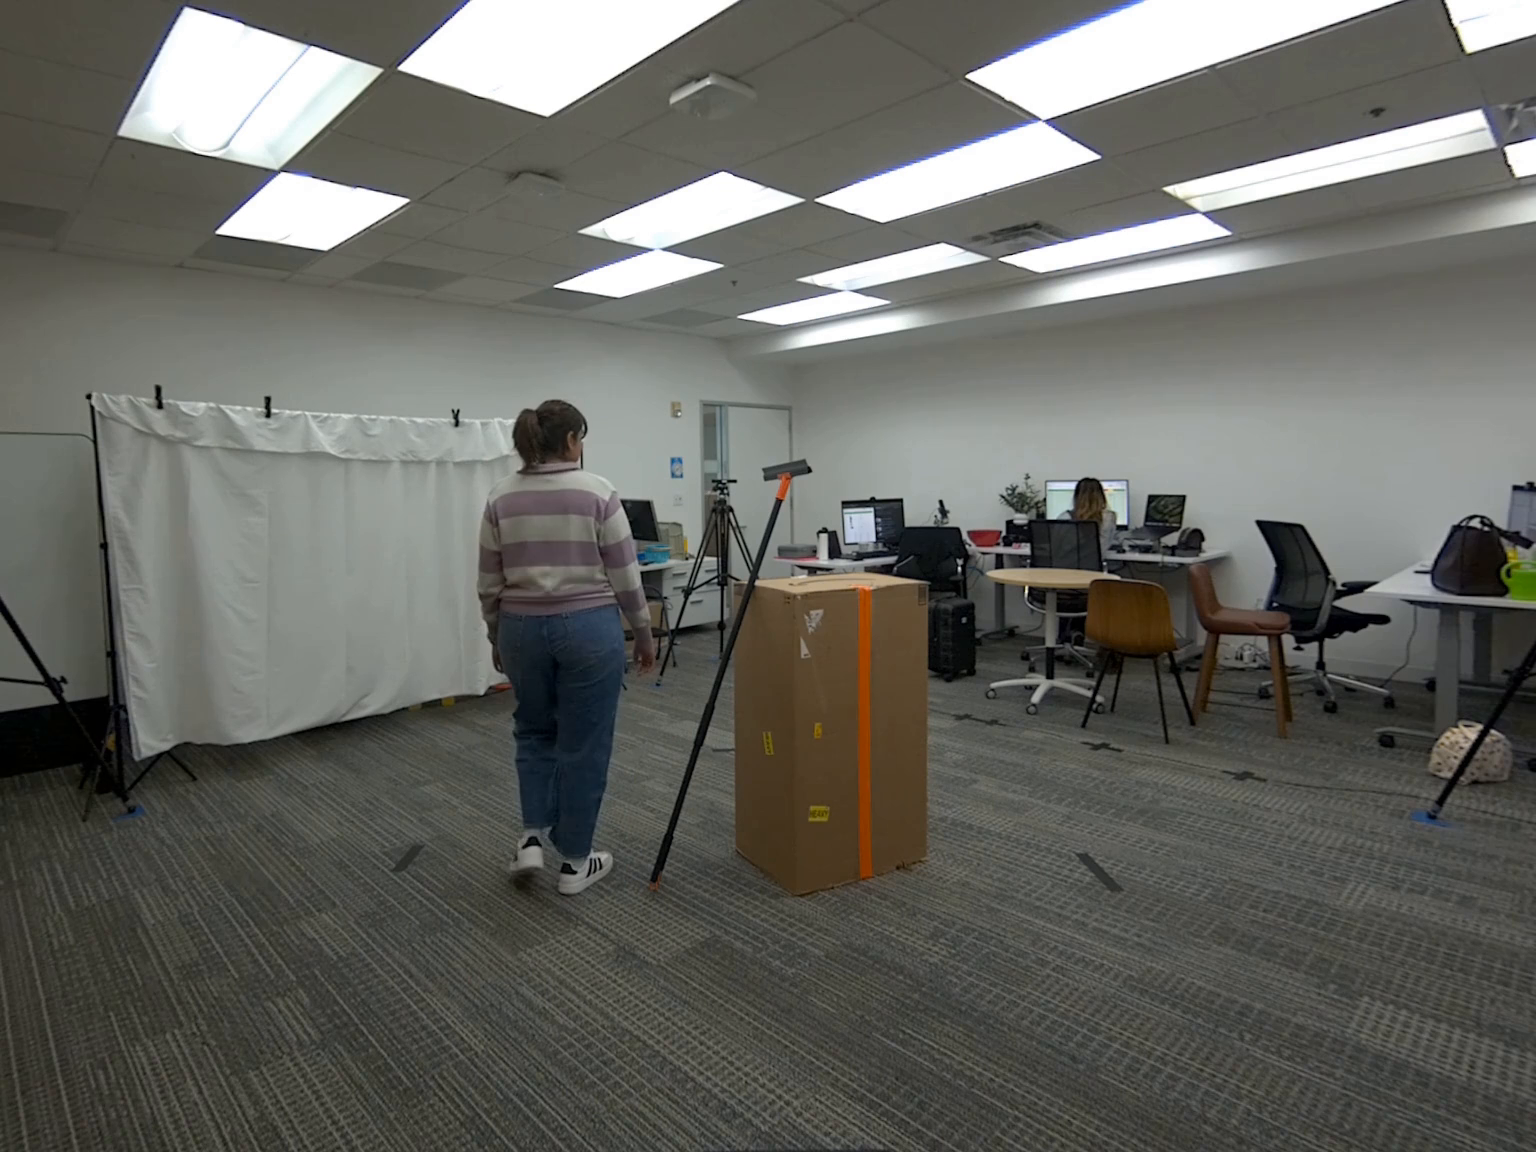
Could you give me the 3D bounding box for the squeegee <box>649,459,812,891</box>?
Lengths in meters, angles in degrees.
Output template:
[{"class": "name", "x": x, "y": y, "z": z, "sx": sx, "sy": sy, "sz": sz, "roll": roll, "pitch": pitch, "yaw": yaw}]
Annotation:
[{"class": "squeegee", "x": -0.160, "y": 0.338, "z": 3.016, "sx": 0.052, "sy": 1.543, "sz": 0.446, "roll": 19, "pitch": -6, "yaw": -22}]
